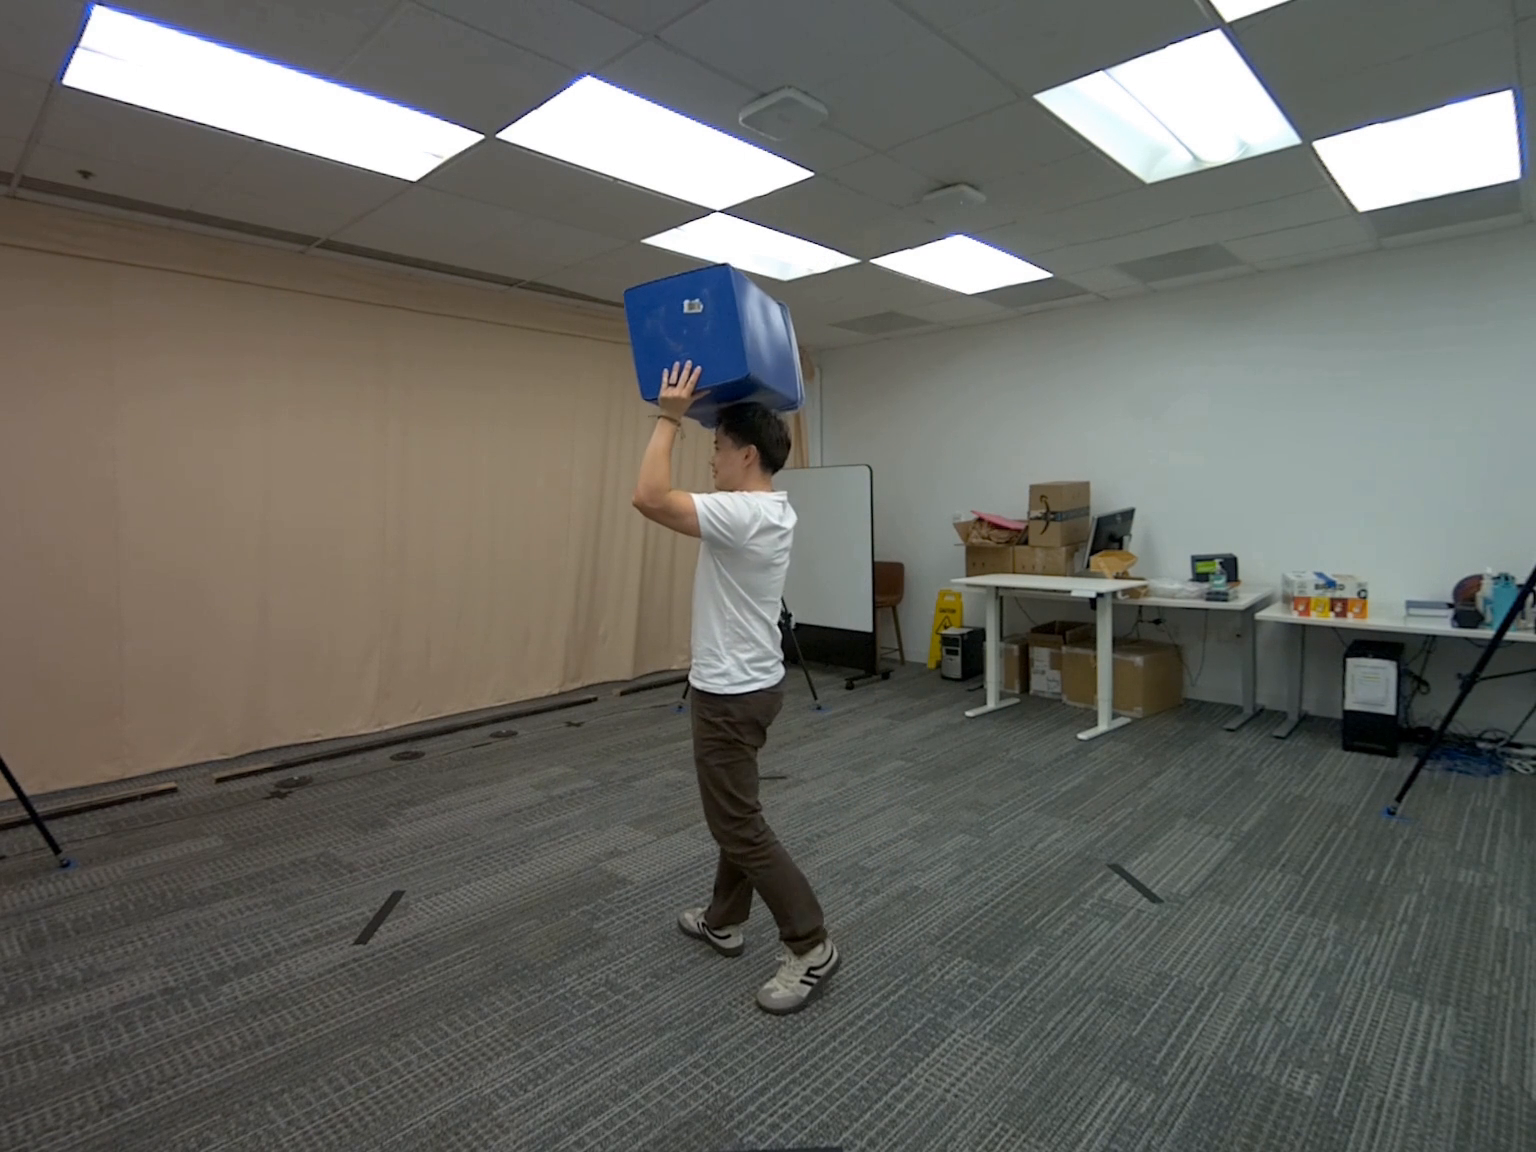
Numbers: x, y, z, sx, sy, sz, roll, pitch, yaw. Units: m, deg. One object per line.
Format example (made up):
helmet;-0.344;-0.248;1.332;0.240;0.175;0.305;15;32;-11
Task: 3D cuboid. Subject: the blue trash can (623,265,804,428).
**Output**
blue trash can;-0.147;-0.675;2.527;0.379;0.377;0.705;-10;3;14
